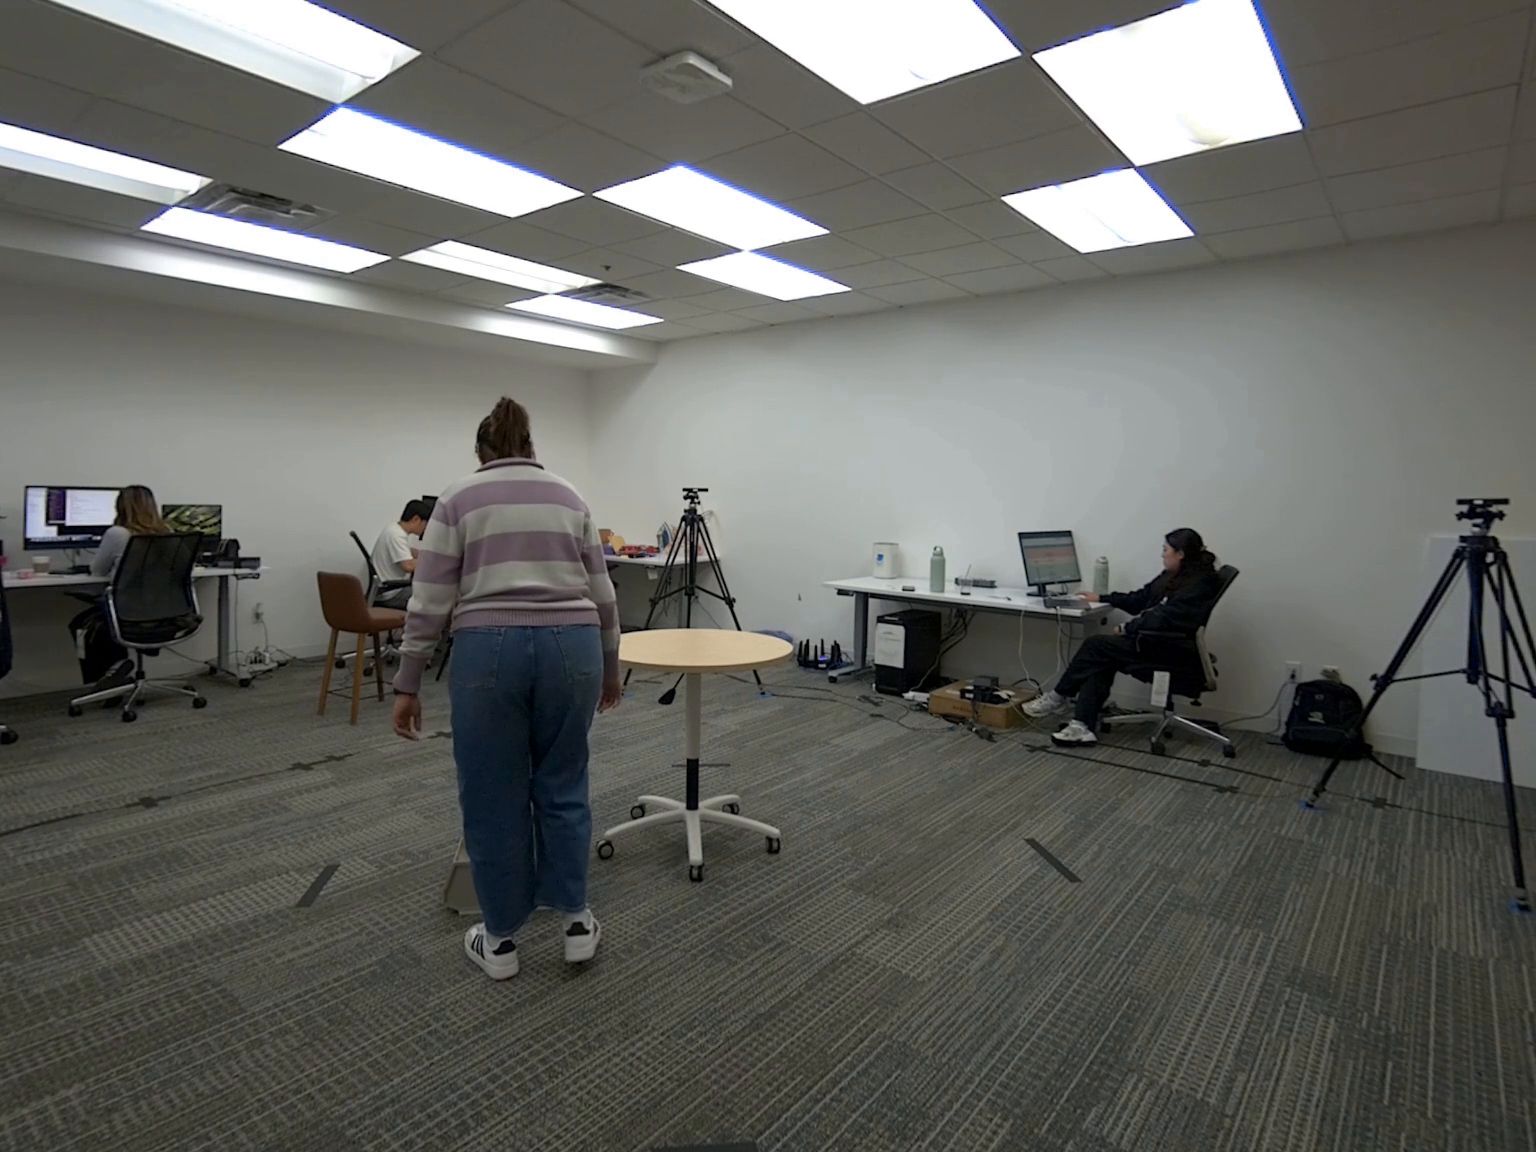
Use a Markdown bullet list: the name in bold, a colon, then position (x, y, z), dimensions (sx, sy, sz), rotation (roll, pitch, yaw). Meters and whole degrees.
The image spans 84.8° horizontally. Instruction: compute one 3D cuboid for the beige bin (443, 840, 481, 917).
- **beige bin**: position (-0.918, 0.982, 2.960), dimensions (0.373, 0.188, 0.428), rotation (1, 4, -11)
